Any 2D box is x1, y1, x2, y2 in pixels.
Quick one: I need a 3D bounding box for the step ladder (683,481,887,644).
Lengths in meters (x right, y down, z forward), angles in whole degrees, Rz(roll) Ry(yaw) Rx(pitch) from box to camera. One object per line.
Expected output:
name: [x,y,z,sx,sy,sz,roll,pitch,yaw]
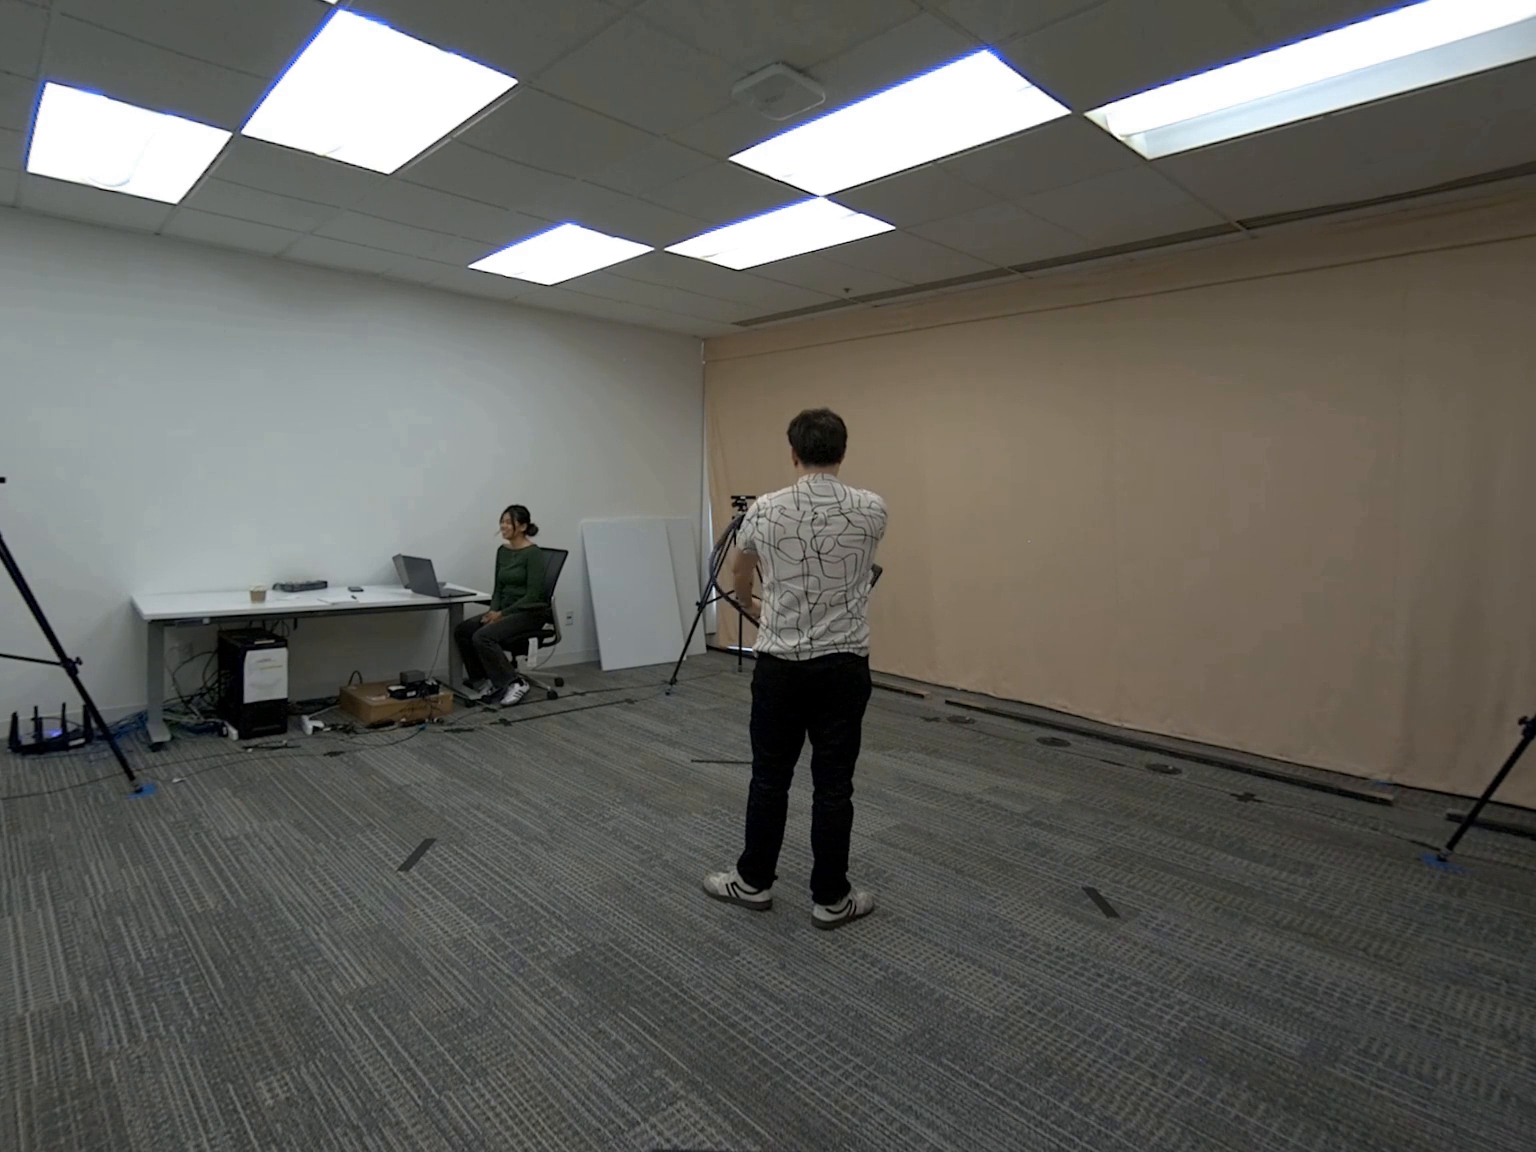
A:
step ladder: [0.056,0.021,3.359,0.608,0.432,0.347,33,-26,2]
